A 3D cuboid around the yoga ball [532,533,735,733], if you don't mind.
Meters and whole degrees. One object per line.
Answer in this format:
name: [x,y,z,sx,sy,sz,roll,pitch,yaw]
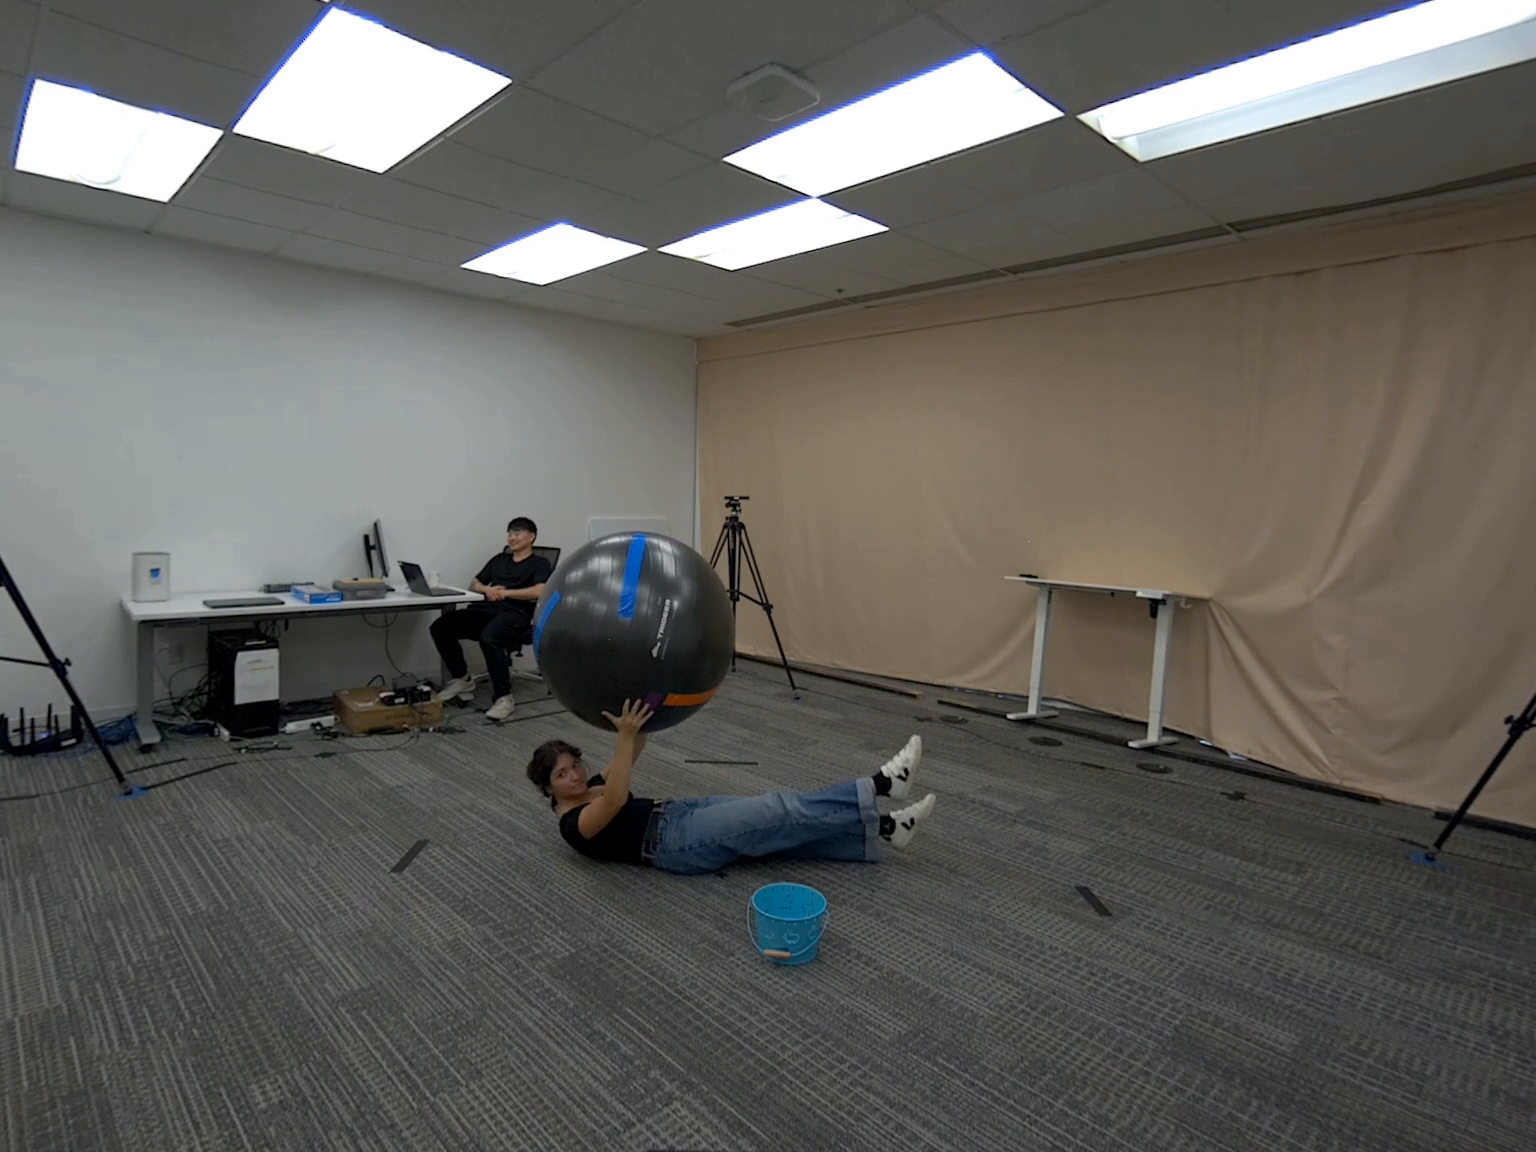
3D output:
yoga ball: [-0.509,0.214,3.176,0.757,0.756,0.761,1,4,-1]
